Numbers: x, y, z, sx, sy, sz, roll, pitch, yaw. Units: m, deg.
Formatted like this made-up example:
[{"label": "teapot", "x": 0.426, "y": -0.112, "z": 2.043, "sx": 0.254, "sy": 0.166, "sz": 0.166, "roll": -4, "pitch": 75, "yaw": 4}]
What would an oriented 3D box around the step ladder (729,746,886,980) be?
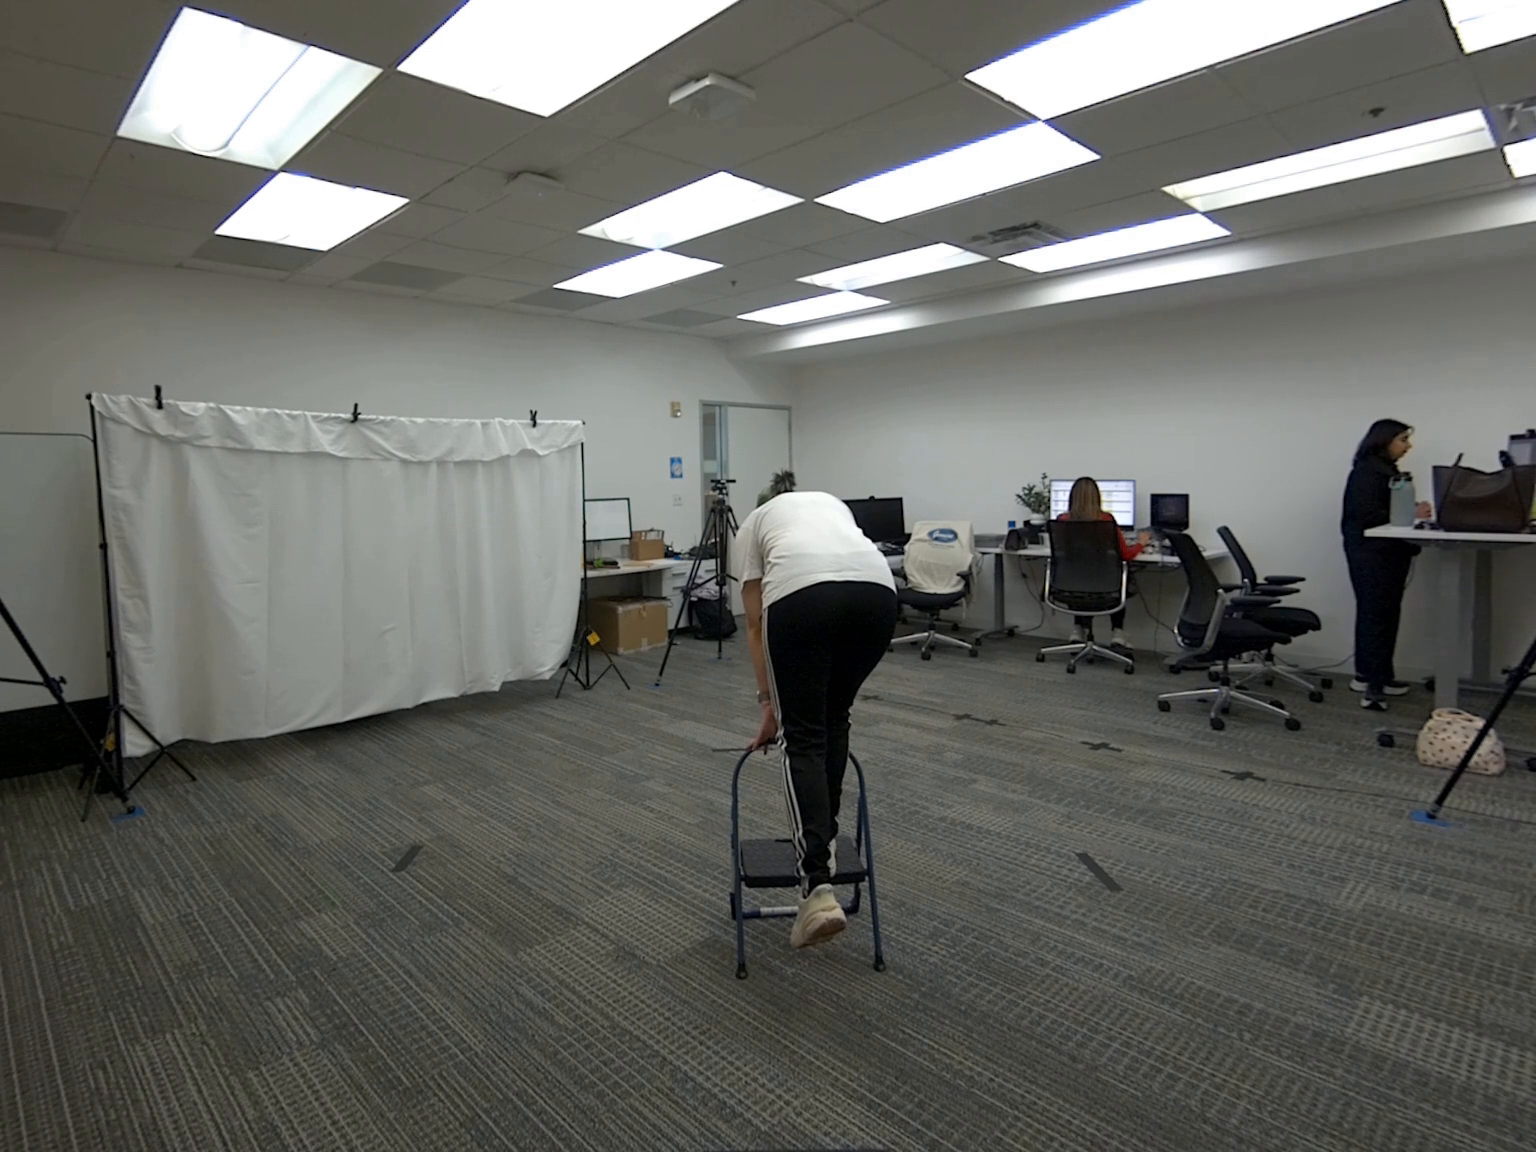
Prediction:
[{"label": "step ladder", "x": 0.103, "y": 0.811, "z": 2.564, "sx": 0.429, "sy": 0.604, "sz": 0.352, "roll": -2, "pitch": 4, "yaw": -5}]
